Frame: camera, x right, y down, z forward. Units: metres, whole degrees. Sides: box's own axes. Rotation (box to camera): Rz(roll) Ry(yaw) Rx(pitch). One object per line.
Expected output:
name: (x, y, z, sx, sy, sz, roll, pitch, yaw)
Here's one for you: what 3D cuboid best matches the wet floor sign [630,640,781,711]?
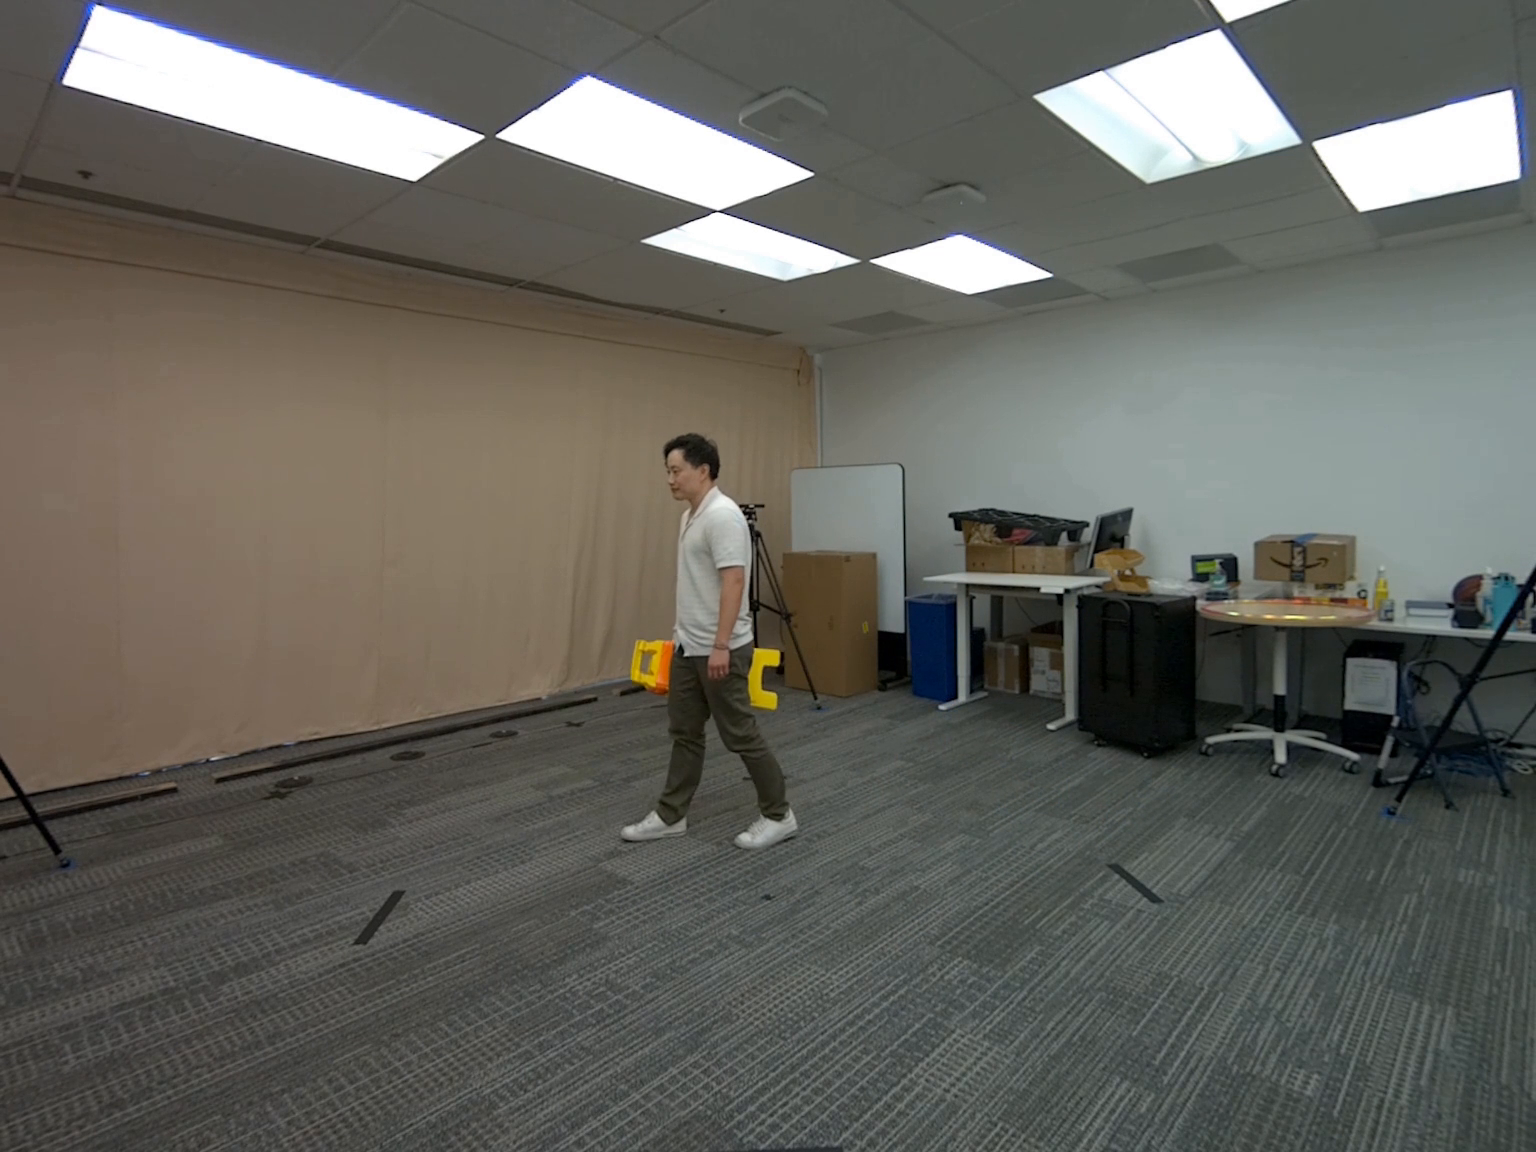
wet floor sign: (-0.307, 0.446, 3.829, 0.634, 0.286, 0.291, 15, -29, -16)
